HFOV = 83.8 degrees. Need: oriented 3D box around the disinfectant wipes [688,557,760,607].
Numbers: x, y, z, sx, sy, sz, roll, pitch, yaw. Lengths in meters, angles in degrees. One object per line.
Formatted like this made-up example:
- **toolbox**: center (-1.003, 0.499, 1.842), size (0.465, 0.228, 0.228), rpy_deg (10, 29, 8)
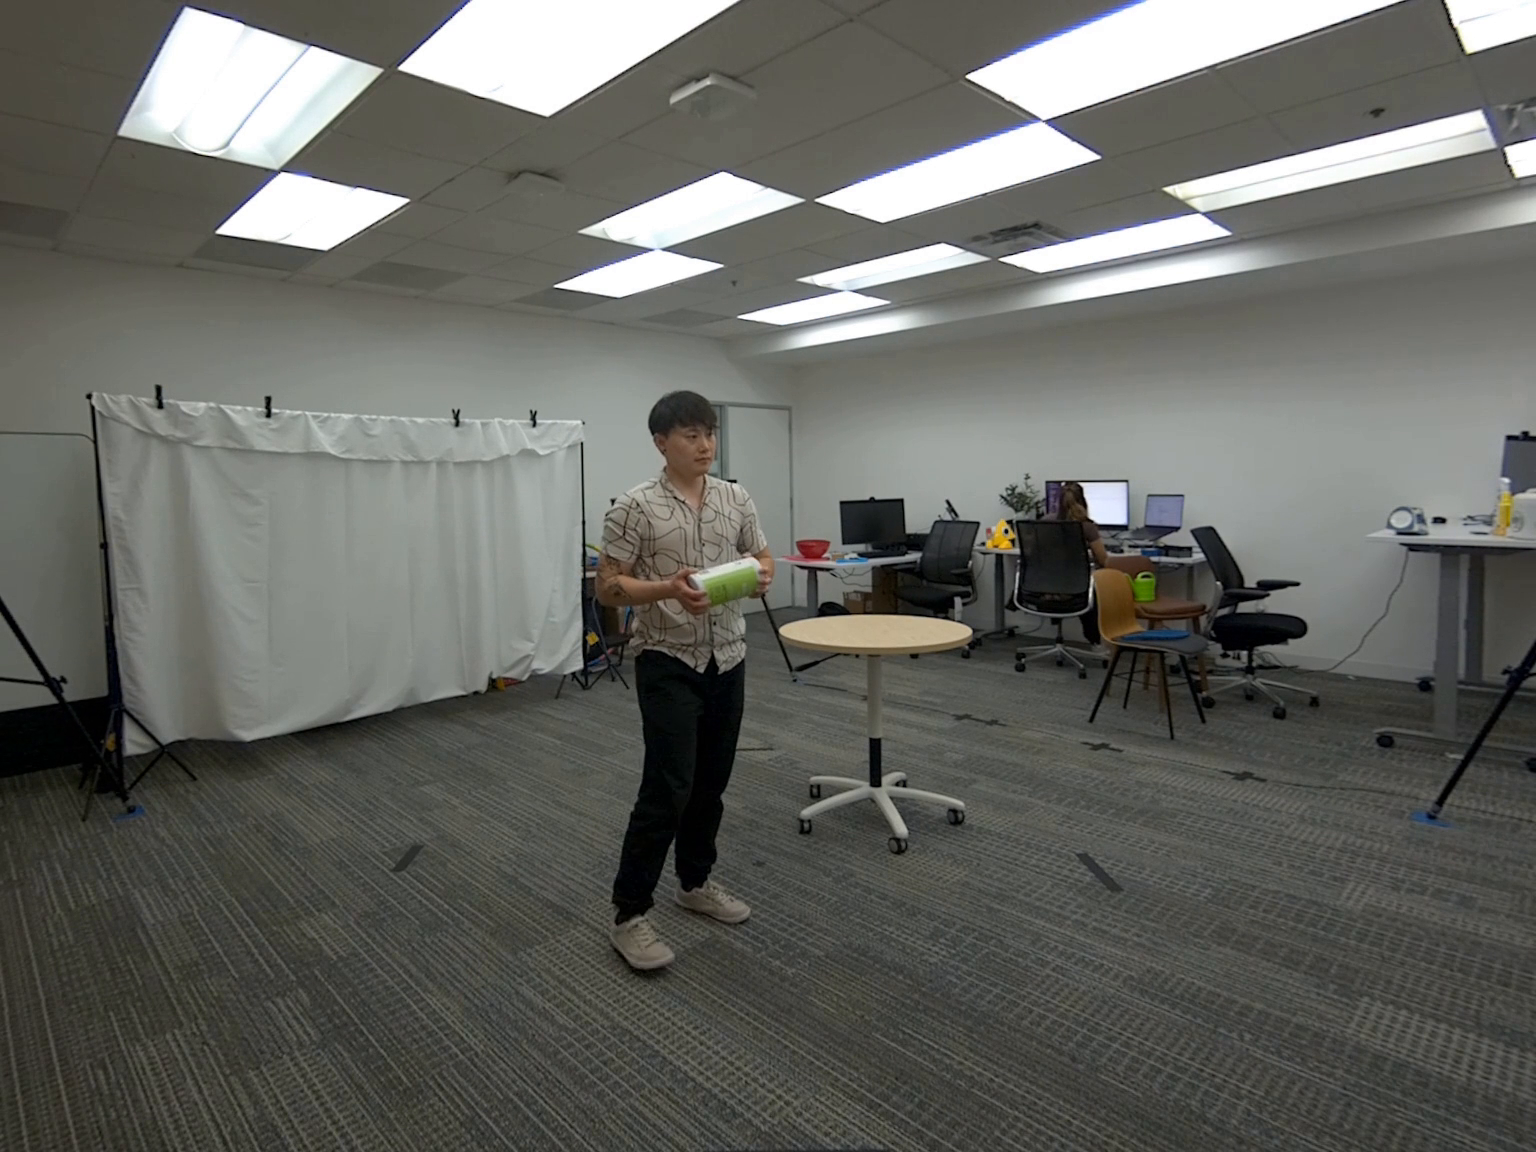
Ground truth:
- **disinfectant wipes**: center (-0.149, 0.024, 2.451), size (0.214, 0.116, 0.121), rpy_deg (-17, 12, -28)
